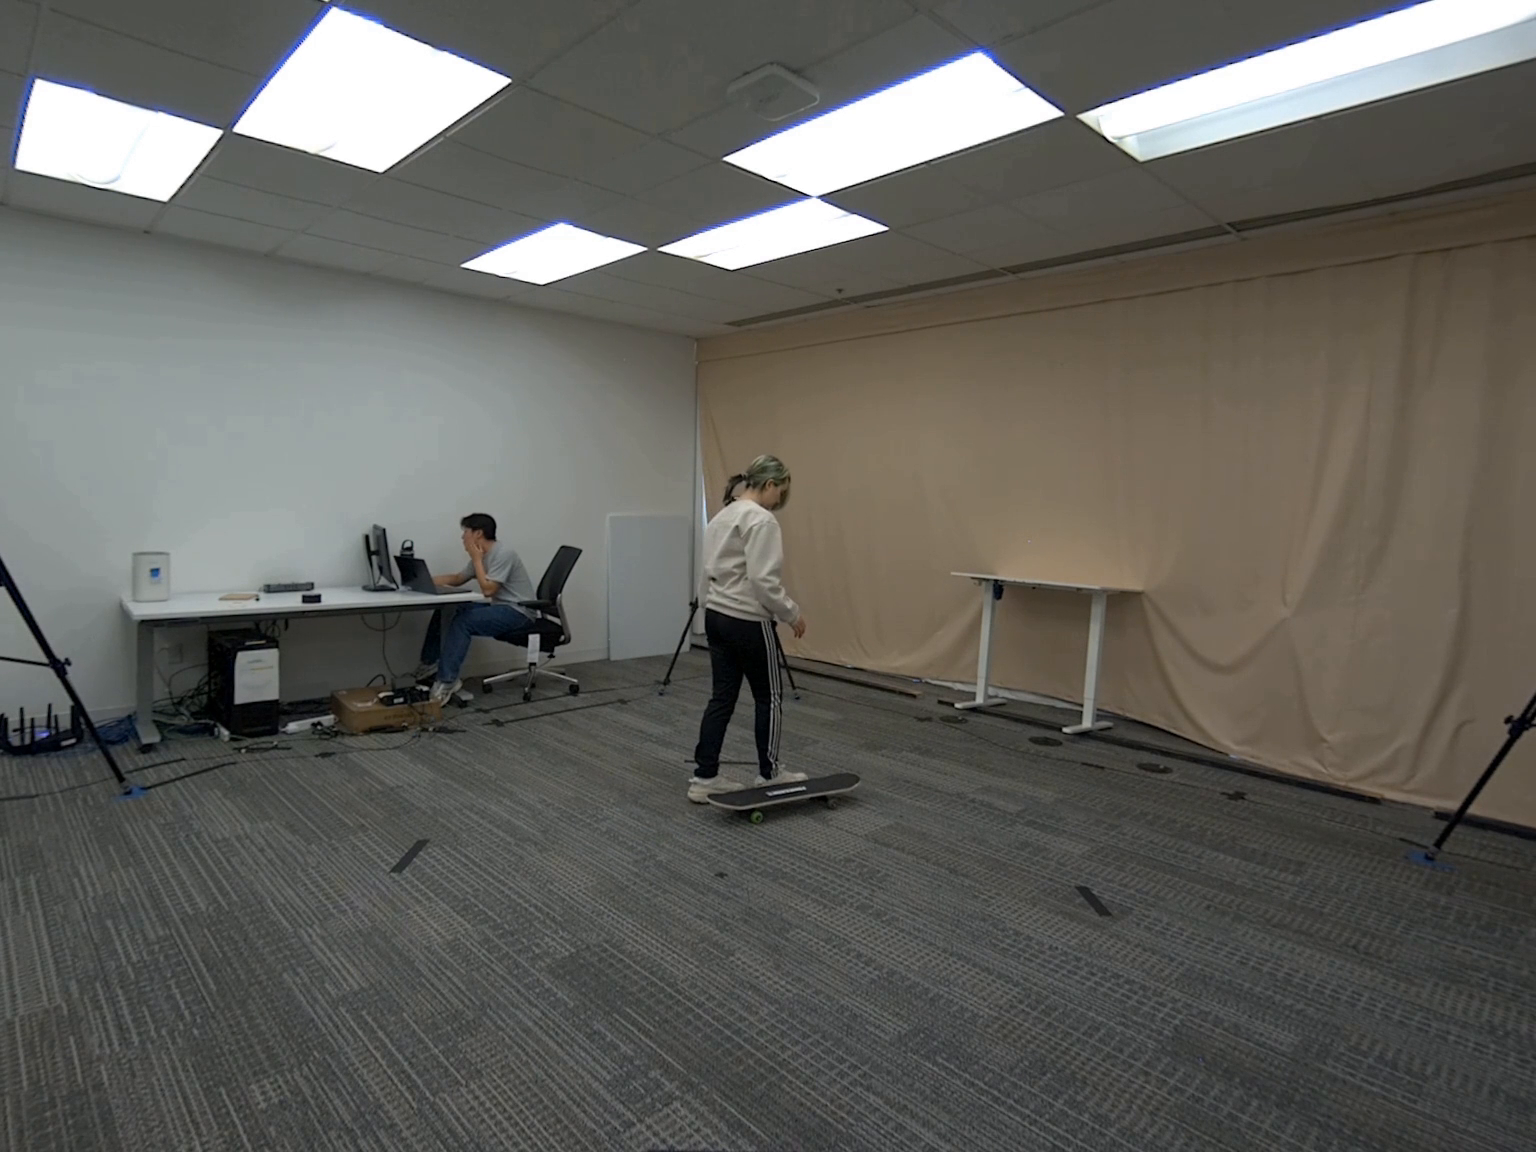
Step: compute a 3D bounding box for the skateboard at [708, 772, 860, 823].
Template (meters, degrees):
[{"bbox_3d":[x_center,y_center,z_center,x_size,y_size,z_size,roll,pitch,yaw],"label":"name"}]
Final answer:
[{"bbox_3d":[0.070,0.989,3.772,0.769,0.110,0.198,-1,4,-30],"label":"skateboard"}]
